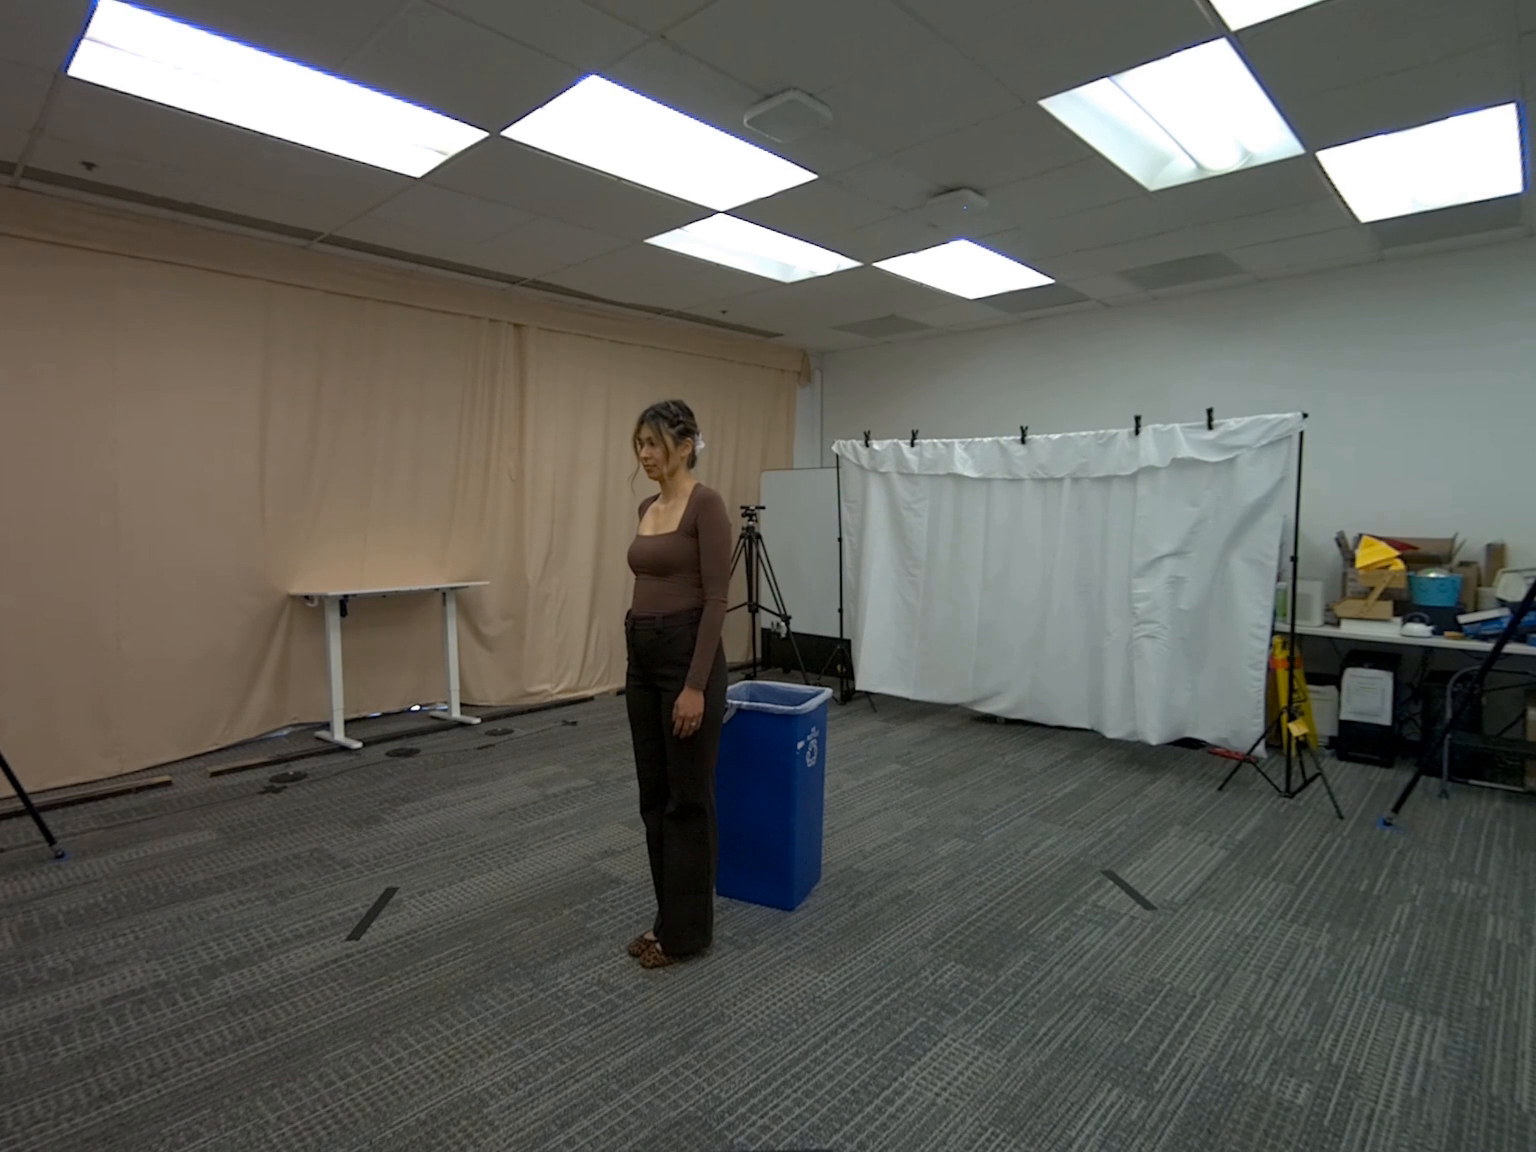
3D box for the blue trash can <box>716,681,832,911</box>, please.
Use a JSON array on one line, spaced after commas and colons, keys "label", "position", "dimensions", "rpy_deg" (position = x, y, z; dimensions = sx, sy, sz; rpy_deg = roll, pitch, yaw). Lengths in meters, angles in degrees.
[{"label": "blue trash can", "position": [0.005, 0.778, 3.062], "dimensions": [0.384, 0.712, 0.369], "rpy_deg": [3, 4, 24]}]
